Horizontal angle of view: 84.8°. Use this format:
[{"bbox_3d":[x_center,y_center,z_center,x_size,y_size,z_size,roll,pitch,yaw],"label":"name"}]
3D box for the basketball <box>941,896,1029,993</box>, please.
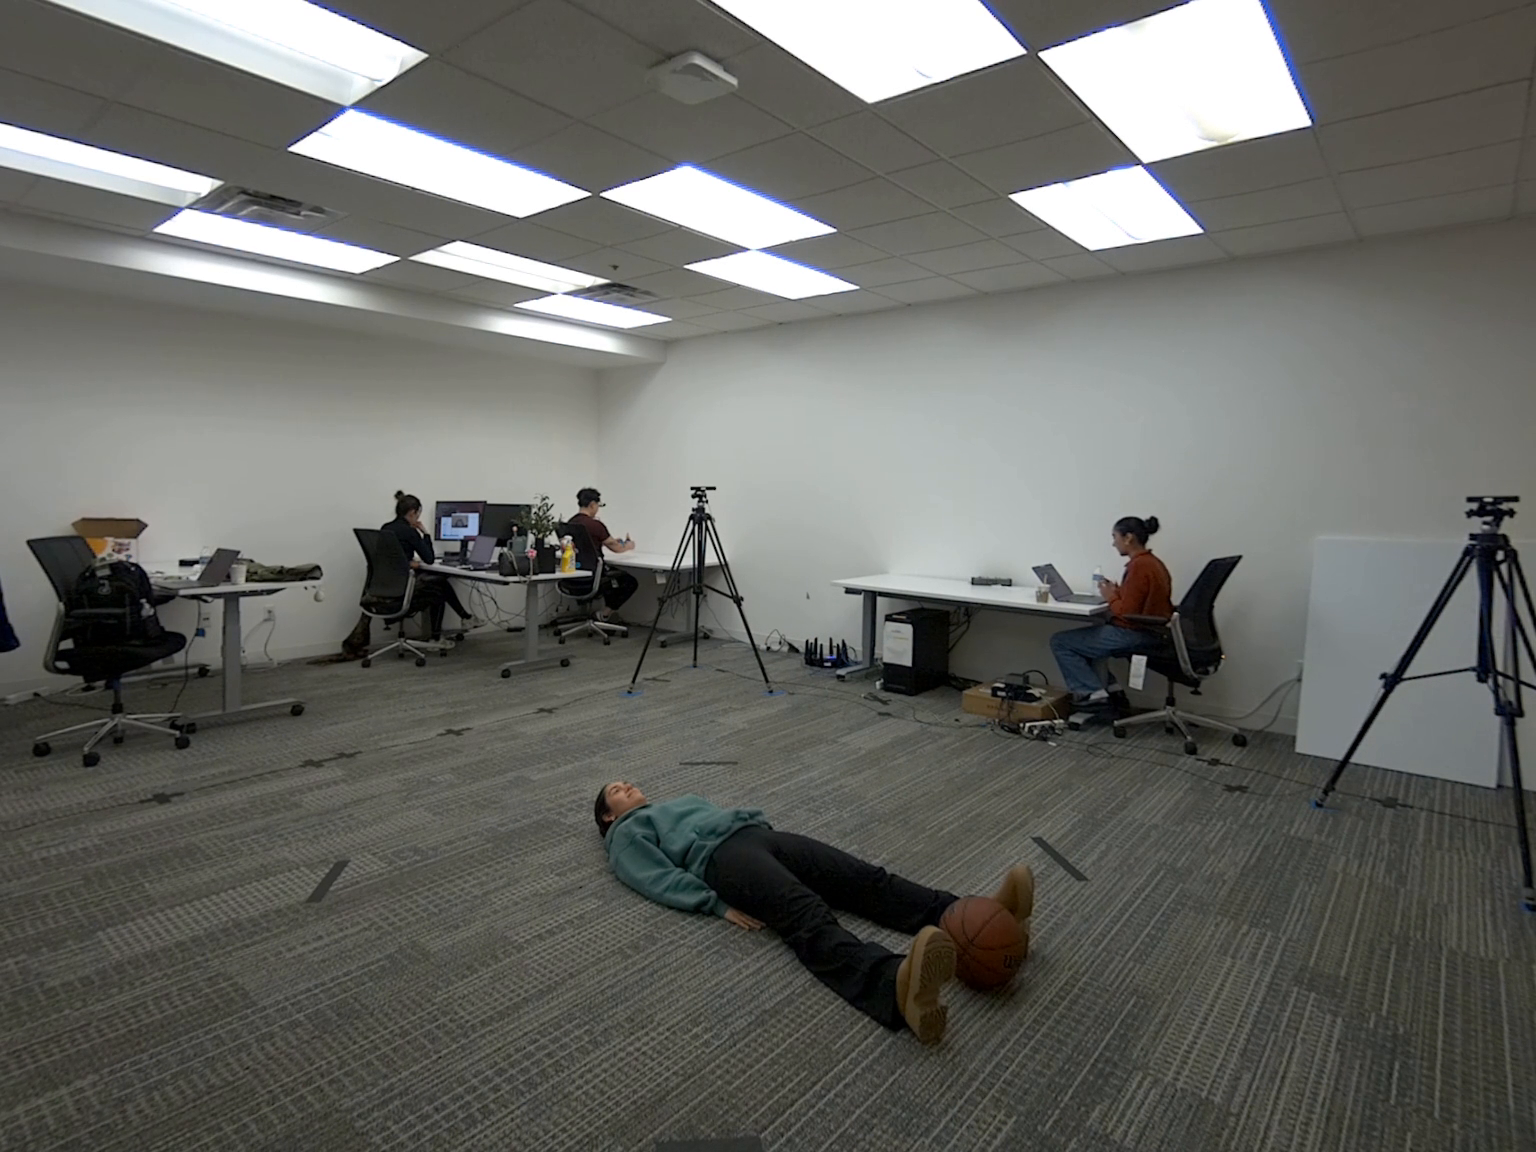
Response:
[{"bbox_3d":[0.594,1.031,2.425,0.236,0.235,0.237,0,4,-2],"label":"basketball"}]
